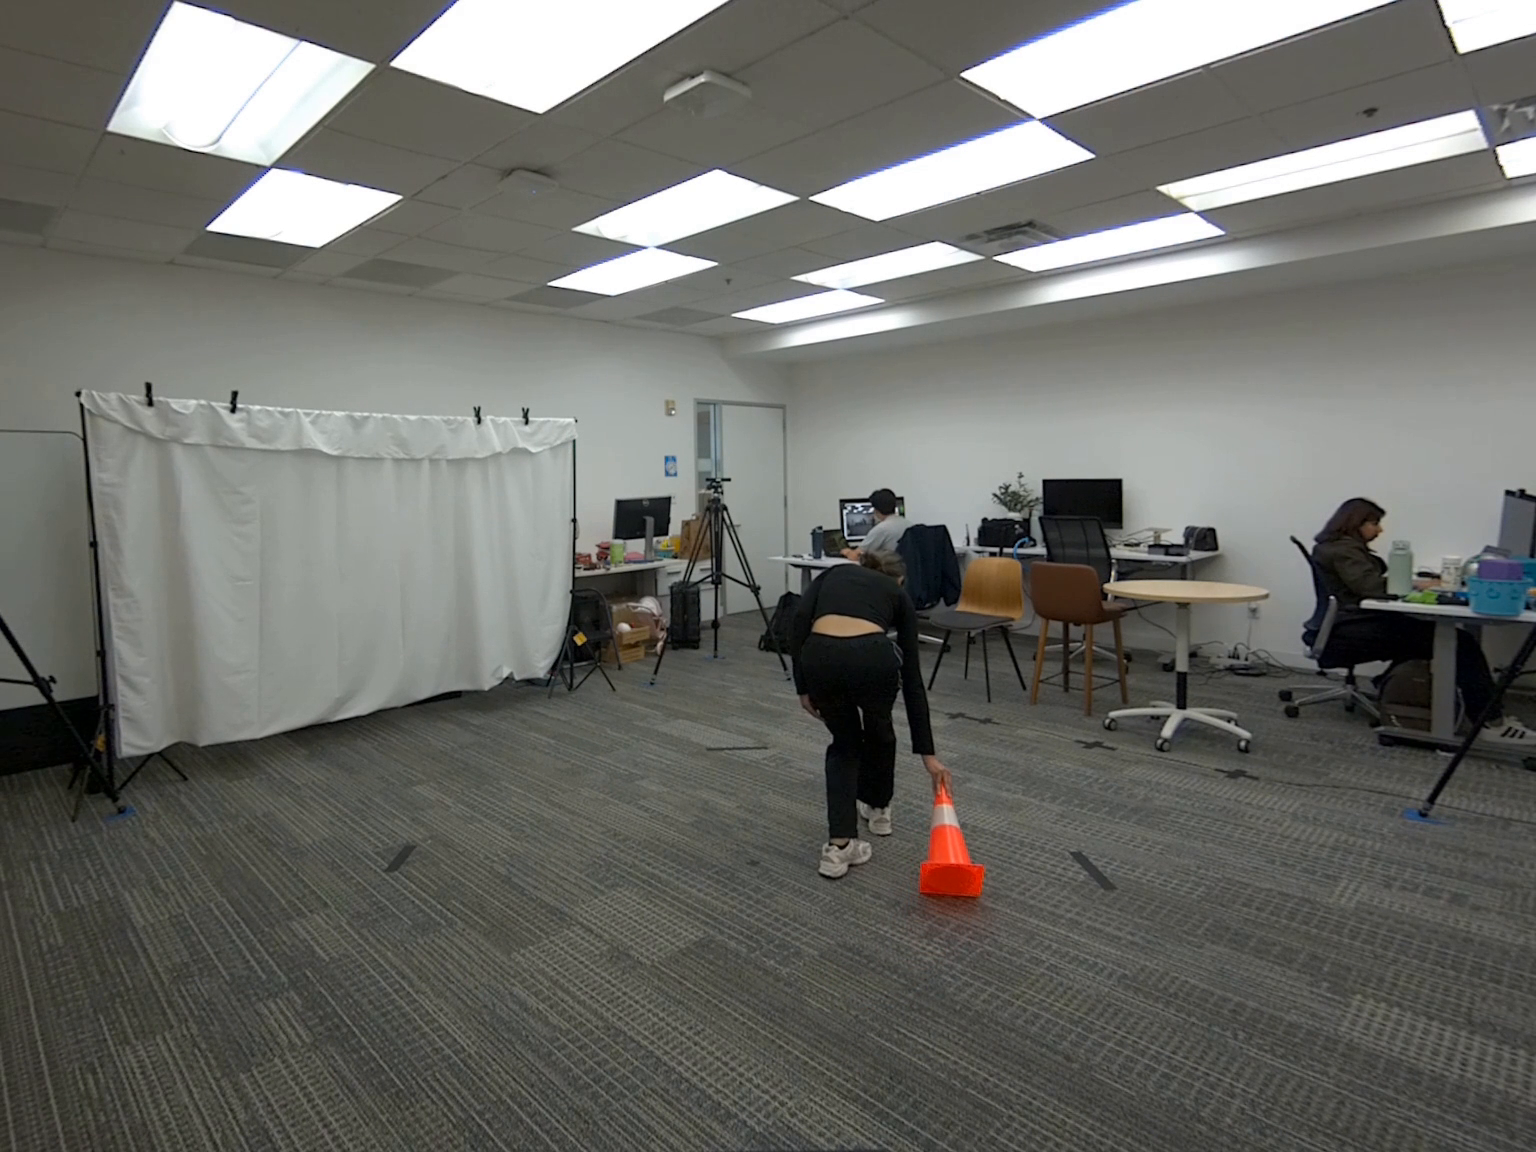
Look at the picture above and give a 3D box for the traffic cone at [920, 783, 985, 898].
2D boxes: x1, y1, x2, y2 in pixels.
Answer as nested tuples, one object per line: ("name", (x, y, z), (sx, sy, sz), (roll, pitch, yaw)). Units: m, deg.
("traffic cone", (0.616, 0.860, 2.924), (0.207, 0.197, 0.392), (-1, 42, 8))
